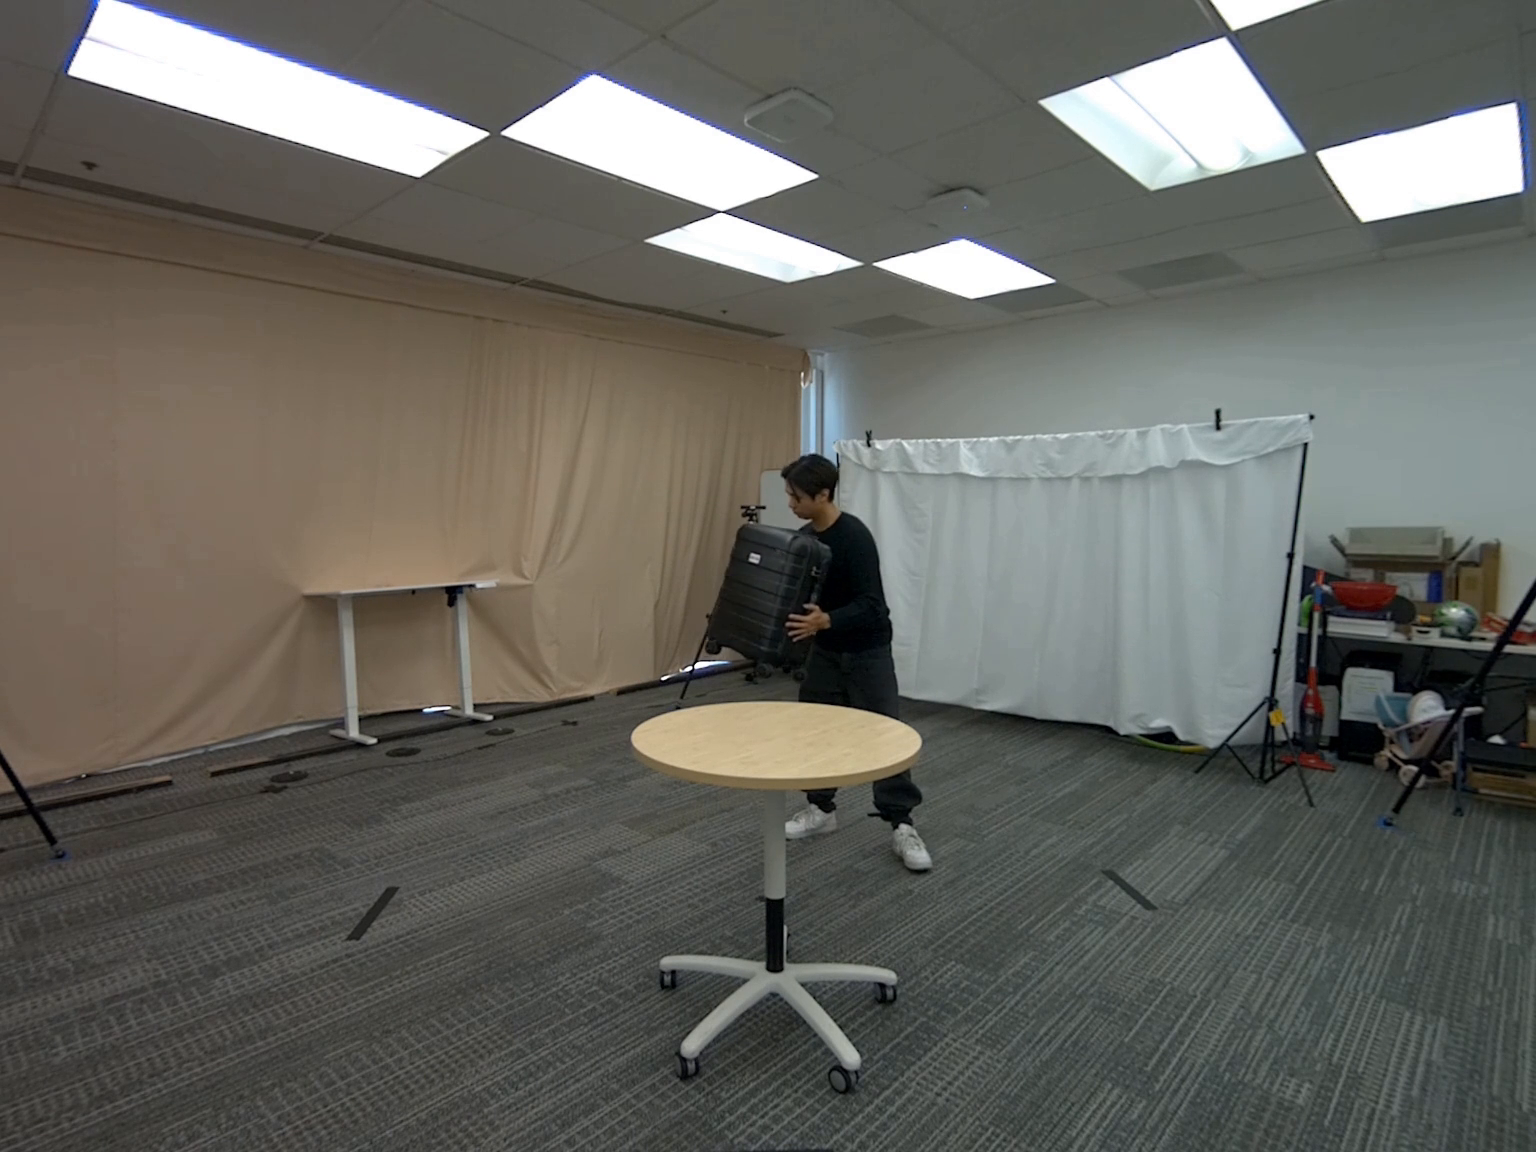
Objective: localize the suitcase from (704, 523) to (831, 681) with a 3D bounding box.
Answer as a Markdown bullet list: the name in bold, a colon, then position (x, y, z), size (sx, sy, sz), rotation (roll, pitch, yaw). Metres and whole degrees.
- **suitcase**: position (0.022, 0.081, 3.239), size (0.239, 0.549, 0.389), rotation (13, 4, -44)
